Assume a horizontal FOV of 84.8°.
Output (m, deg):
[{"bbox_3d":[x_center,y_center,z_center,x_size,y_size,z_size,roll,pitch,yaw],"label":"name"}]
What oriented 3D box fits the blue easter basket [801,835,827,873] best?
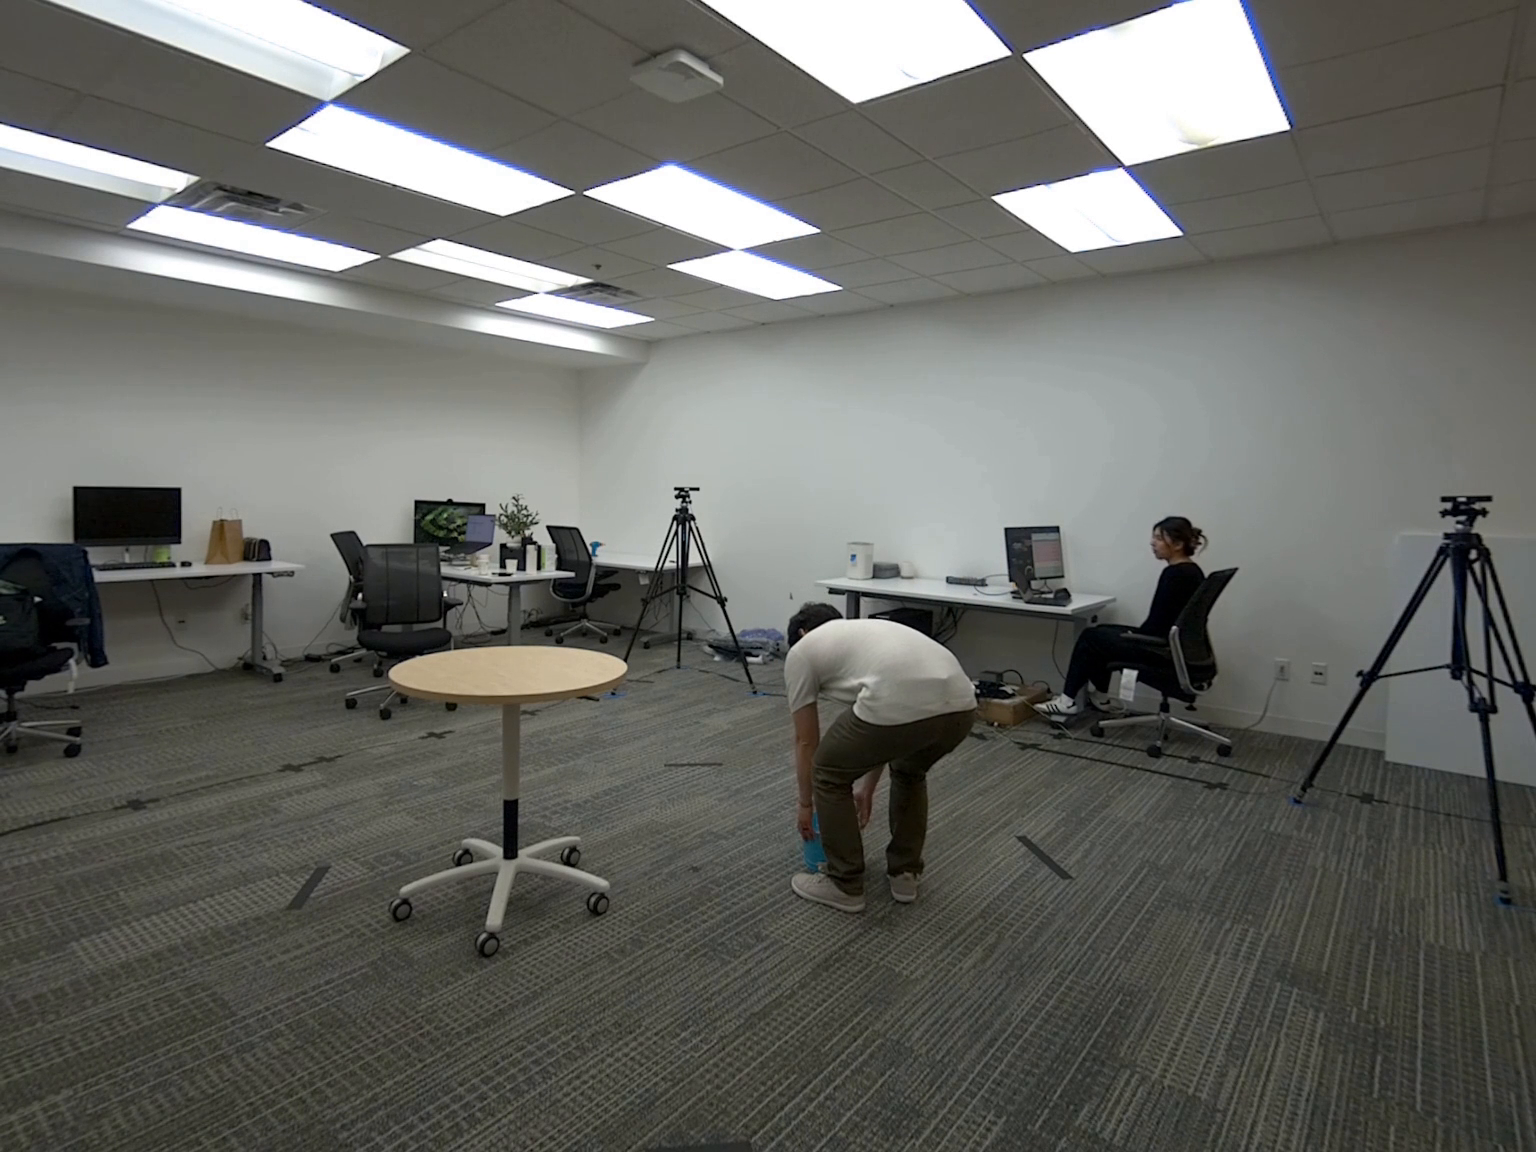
[{"bbox_3d":[0.221,0.985,3.179,0.243,0.155,0.245,1,4,-2],"label":"blue easter basket"}]
